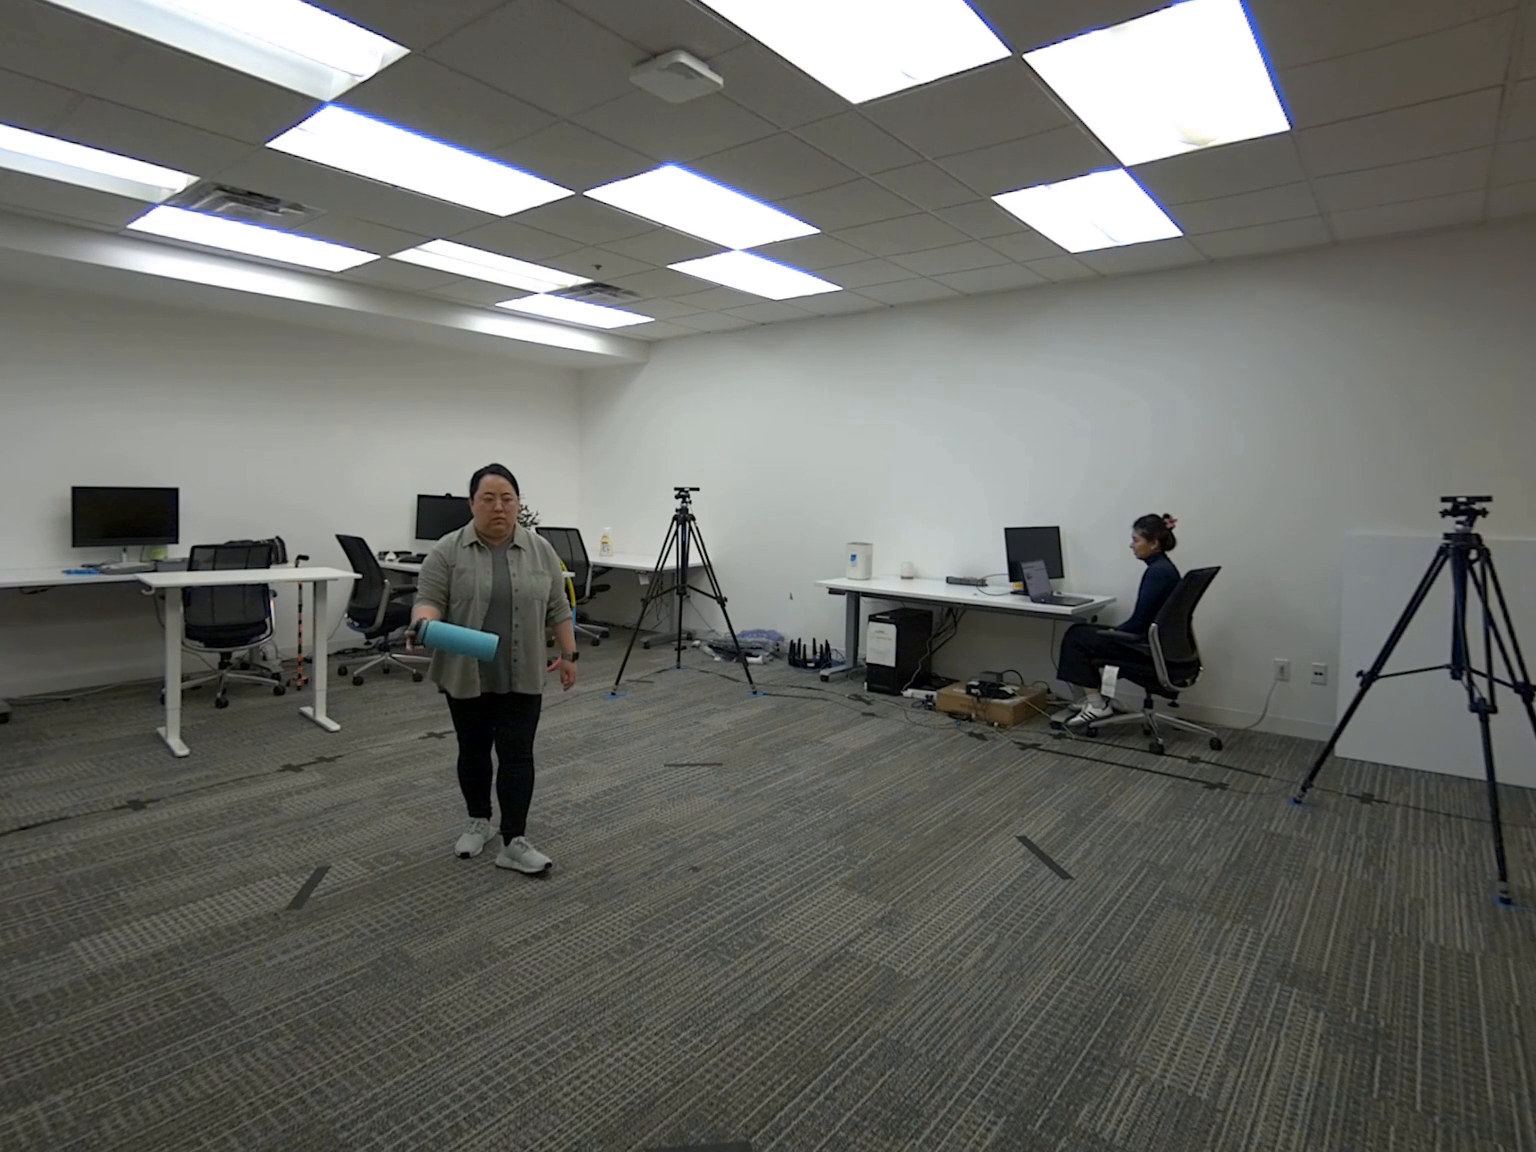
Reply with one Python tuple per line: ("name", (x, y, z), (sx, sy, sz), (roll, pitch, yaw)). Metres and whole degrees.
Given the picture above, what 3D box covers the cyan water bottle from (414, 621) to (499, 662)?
("cyan water bottle", (-1.071, 0.219, 2.810), (0.277, 0.092, 0.094), (15, -1, -18))
